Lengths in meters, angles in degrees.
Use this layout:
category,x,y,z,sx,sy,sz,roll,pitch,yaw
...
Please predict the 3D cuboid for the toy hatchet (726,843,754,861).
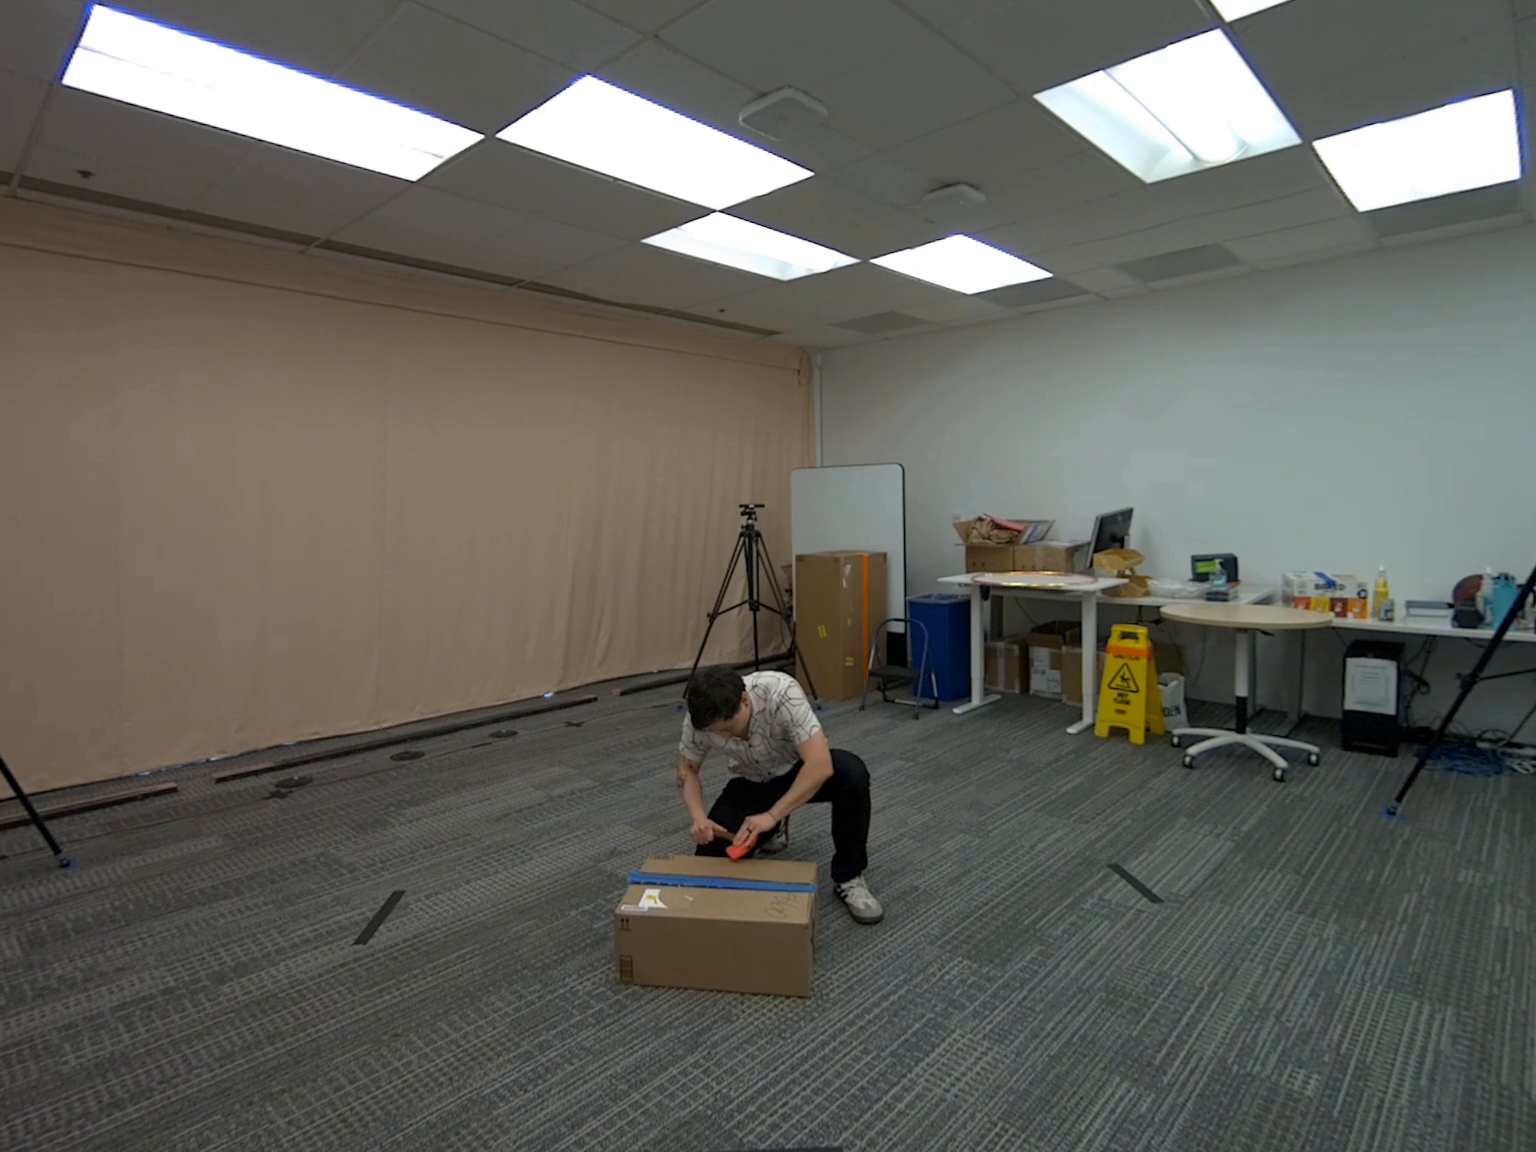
category,x,y,z,sx,sy,sz,roll,pitch,yaw
toy hatchet,-0.159,0.905,2.853,0.277,0.029,0.130,-8,30,33
